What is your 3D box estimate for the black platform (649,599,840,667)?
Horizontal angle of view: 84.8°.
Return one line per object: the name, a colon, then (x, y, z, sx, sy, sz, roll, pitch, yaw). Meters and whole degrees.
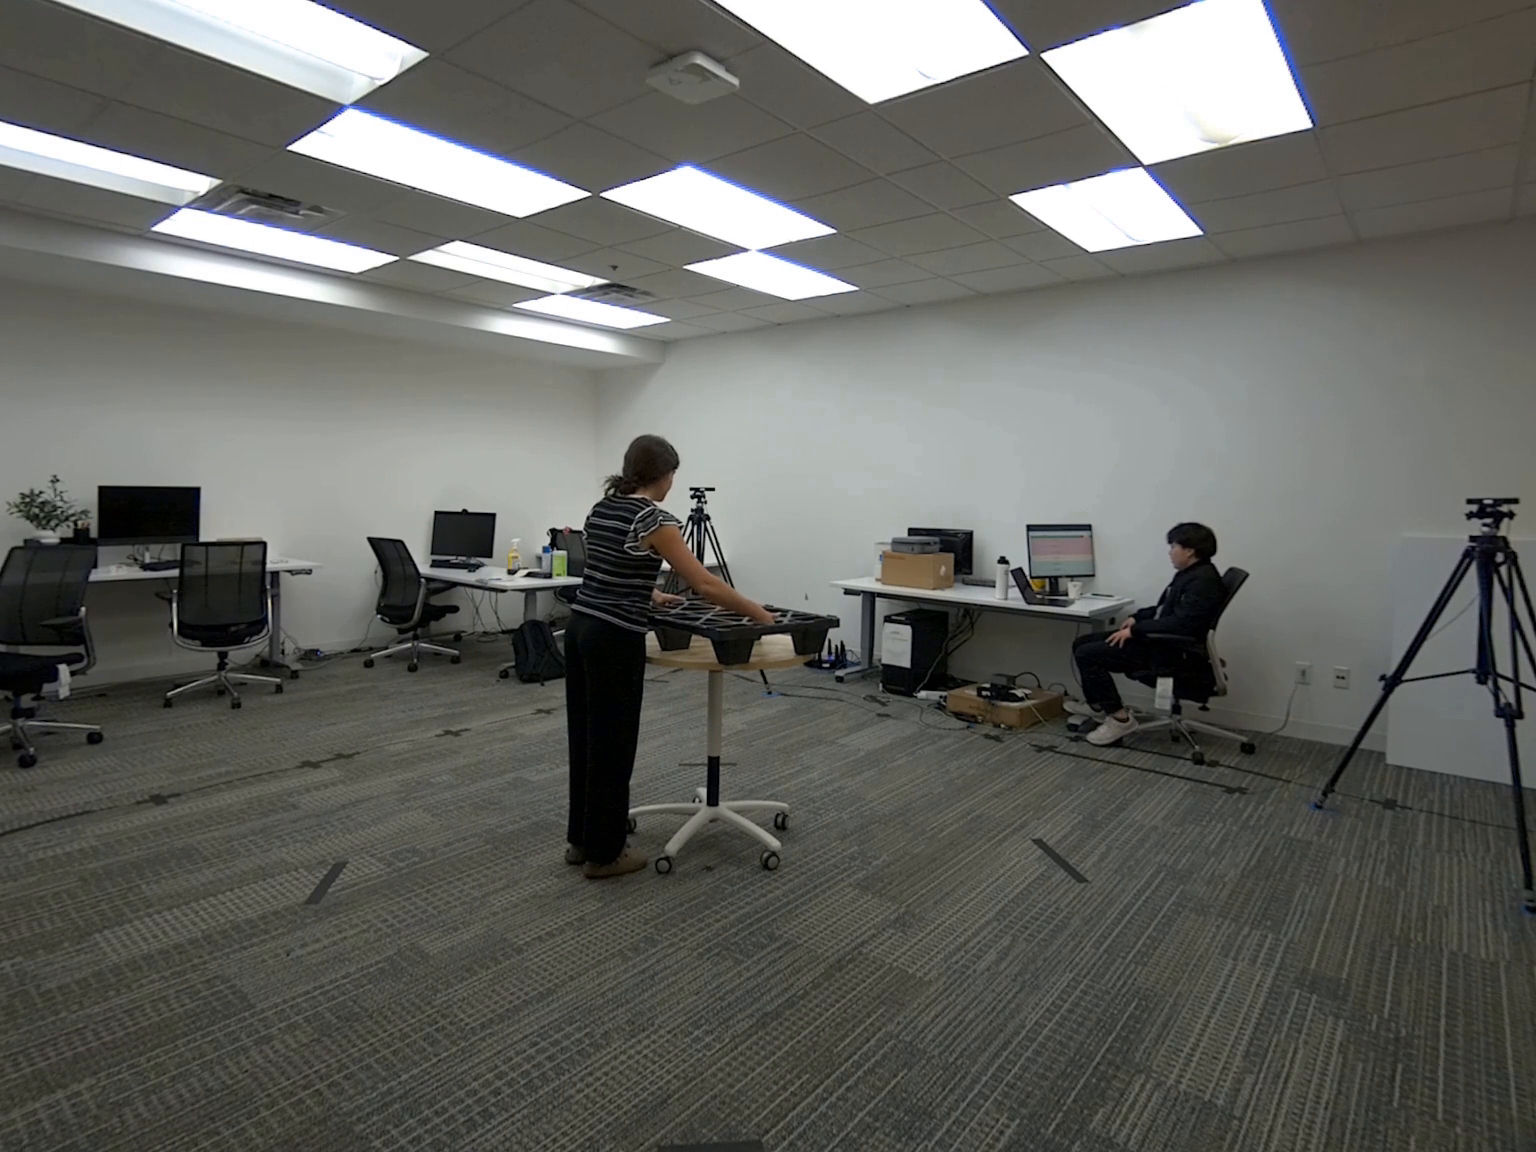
black platform: (-0.230, 0.195, 3.316, 0.586, 0.143, 0.834, -2, 7, -41)
